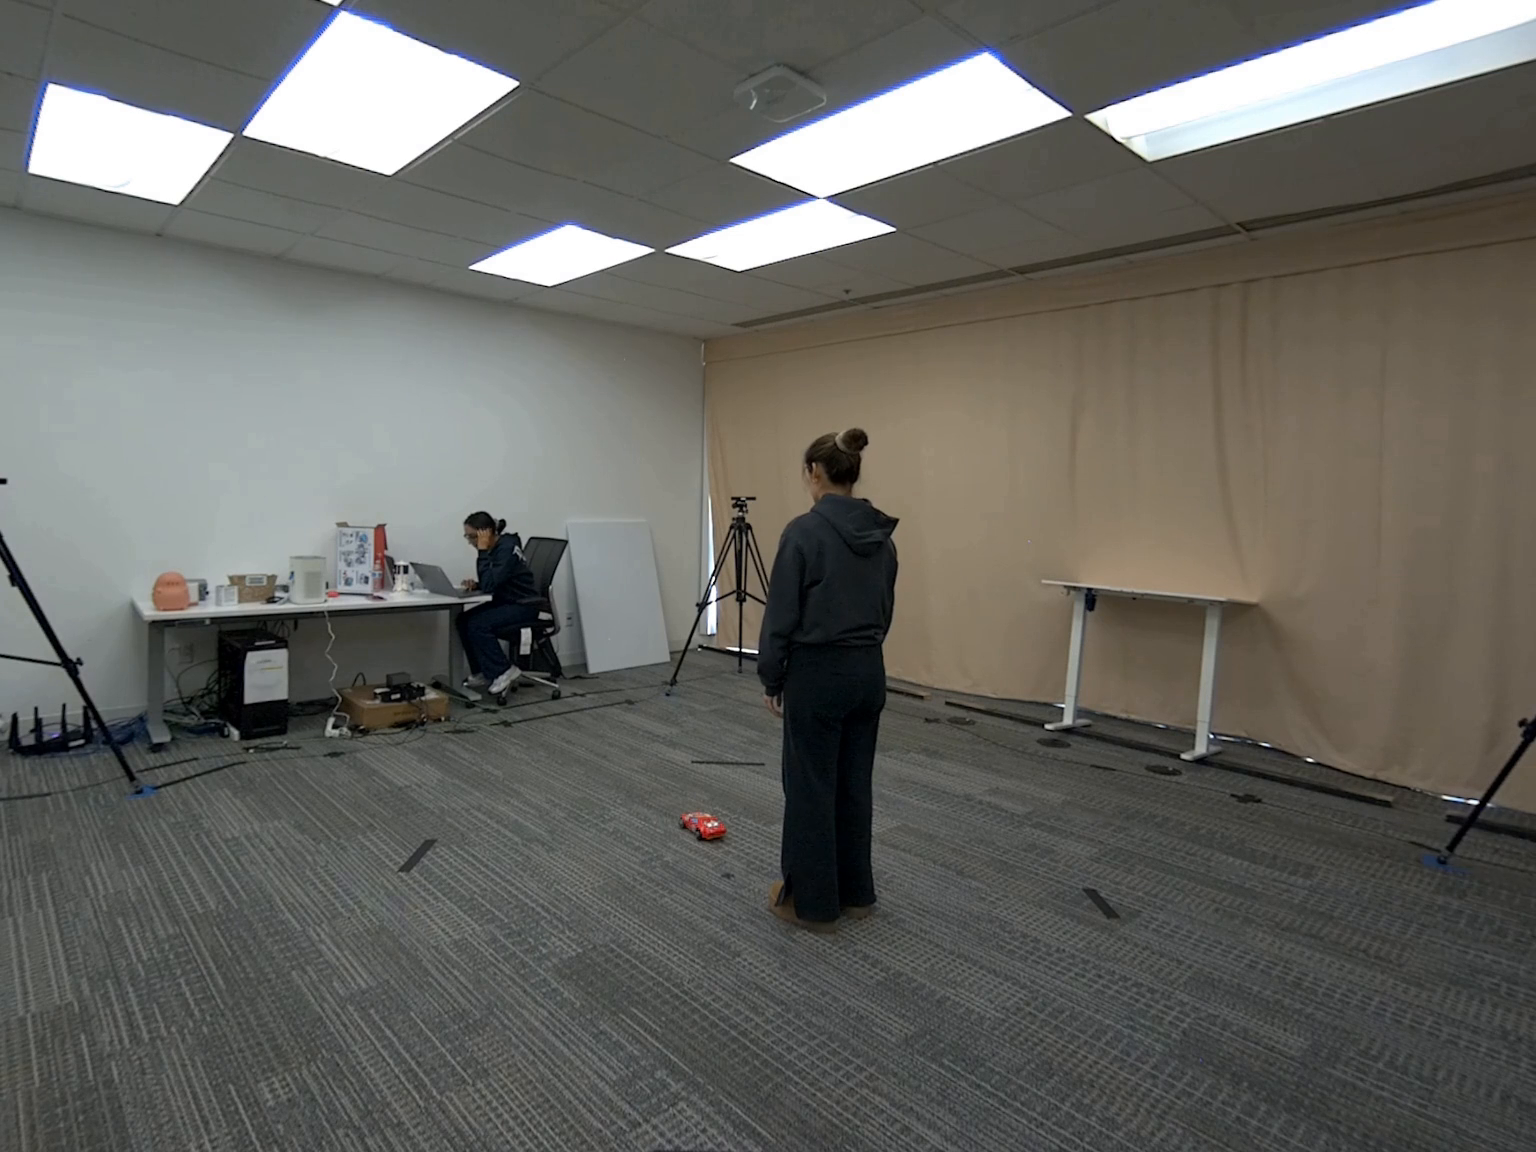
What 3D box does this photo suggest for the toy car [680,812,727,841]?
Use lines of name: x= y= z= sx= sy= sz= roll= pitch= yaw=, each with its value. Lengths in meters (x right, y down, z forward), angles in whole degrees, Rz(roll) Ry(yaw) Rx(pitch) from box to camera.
toy car: x=-0.278 y=1.034 z=3.502 sx=0.127 sy=0.083 sz=0.259 roll=-1 pitch=-5 yaw=-33
